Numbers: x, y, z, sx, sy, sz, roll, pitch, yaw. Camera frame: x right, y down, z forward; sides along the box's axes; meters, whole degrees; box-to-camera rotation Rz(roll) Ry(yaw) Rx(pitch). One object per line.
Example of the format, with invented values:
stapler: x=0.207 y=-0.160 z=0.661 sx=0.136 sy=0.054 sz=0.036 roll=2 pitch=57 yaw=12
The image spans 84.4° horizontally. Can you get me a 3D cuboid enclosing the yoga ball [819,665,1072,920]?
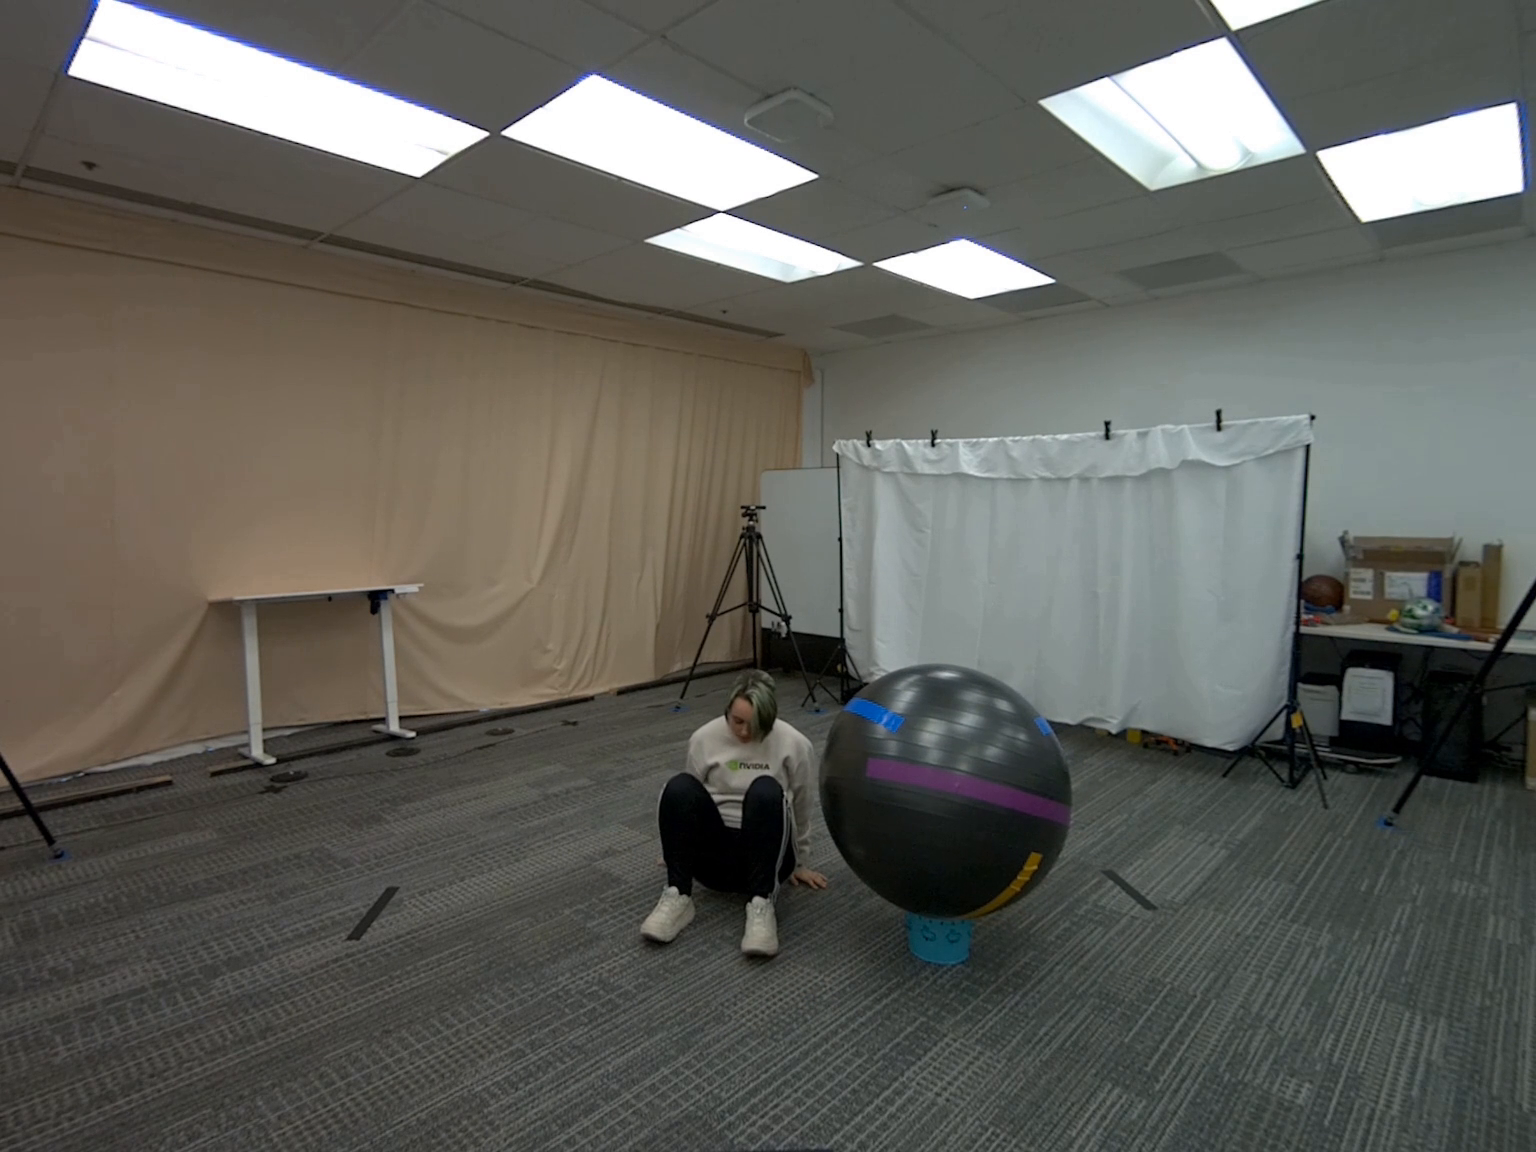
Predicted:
yoga ball: x=0.549 y=0.662 z=2.623 sx=0.757 sy=0.756 sz=0.761 roll=0 pitch=4 yaw=-2
